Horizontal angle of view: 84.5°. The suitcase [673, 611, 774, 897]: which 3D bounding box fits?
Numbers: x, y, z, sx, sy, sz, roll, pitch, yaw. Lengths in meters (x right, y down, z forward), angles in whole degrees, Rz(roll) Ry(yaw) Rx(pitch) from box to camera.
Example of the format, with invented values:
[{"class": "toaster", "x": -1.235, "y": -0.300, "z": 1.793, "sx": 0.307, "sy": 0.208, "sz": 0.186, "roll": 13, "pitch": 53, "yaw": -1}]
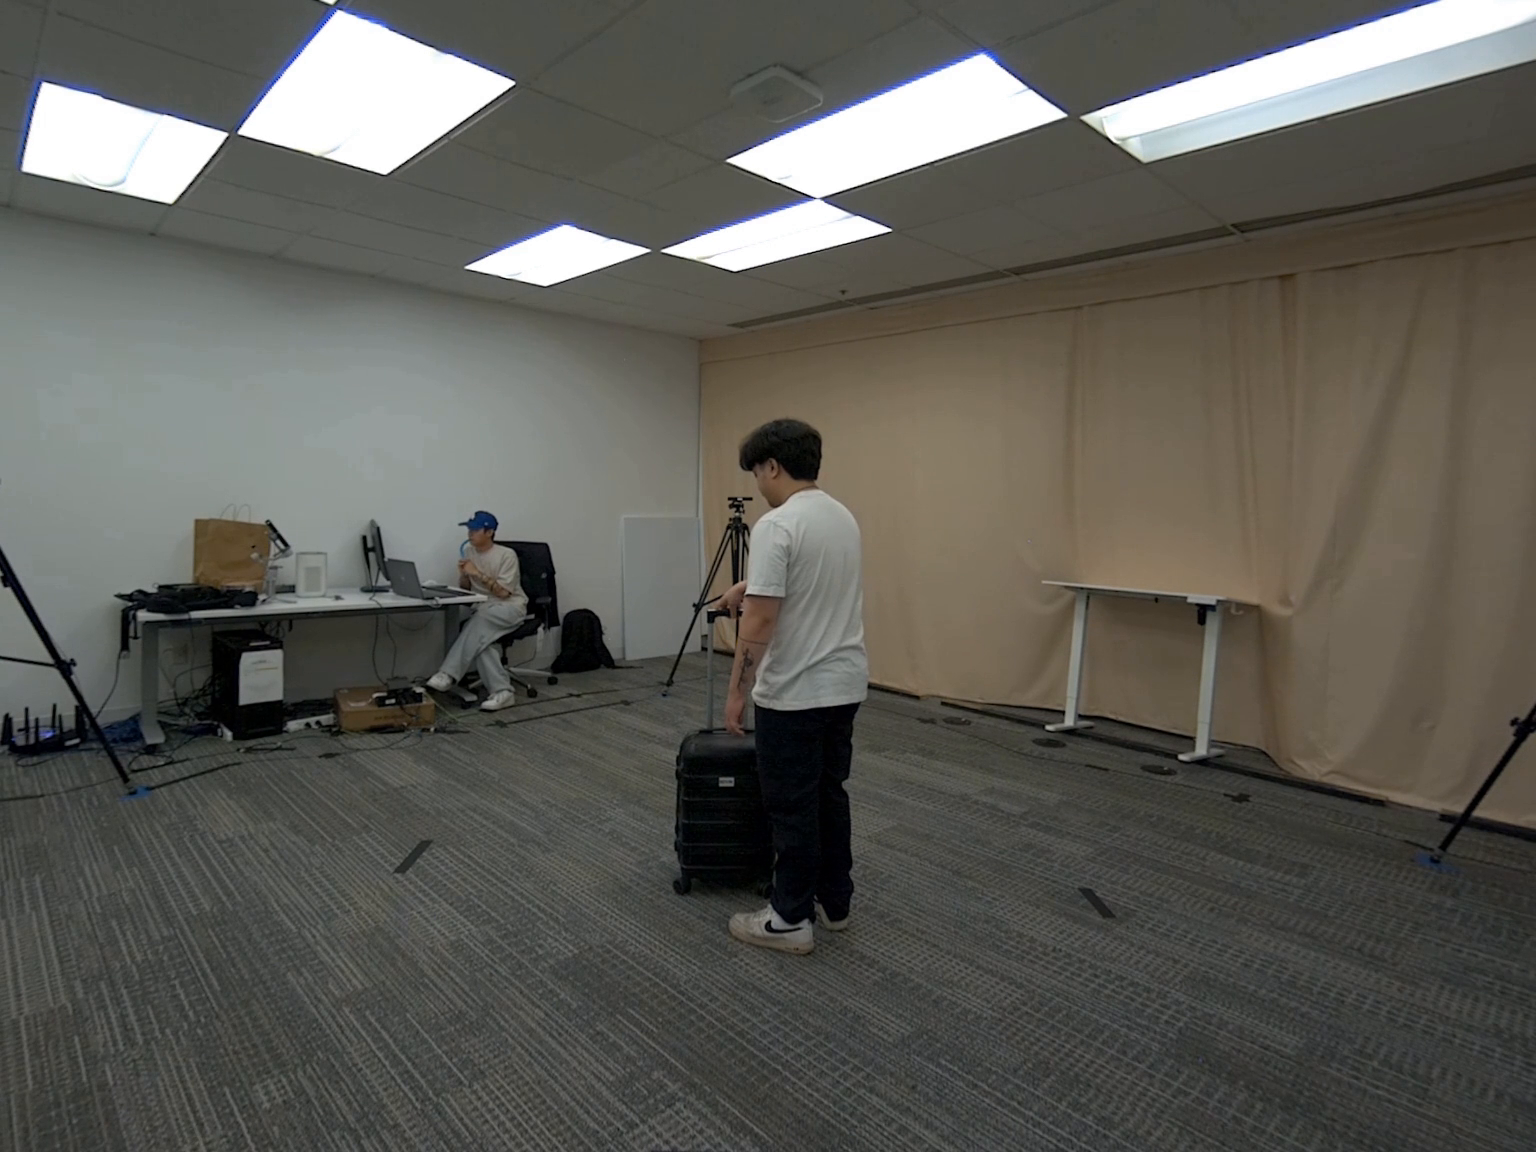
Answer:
[{"class": "suitcase", "x": -0.148, "y": 0.637, "z": 3.034, "sx": 0.383, "sy": 0.975, "sz": 0.258, "roll": 1, "pitch": 5, "yaw": -2}]
